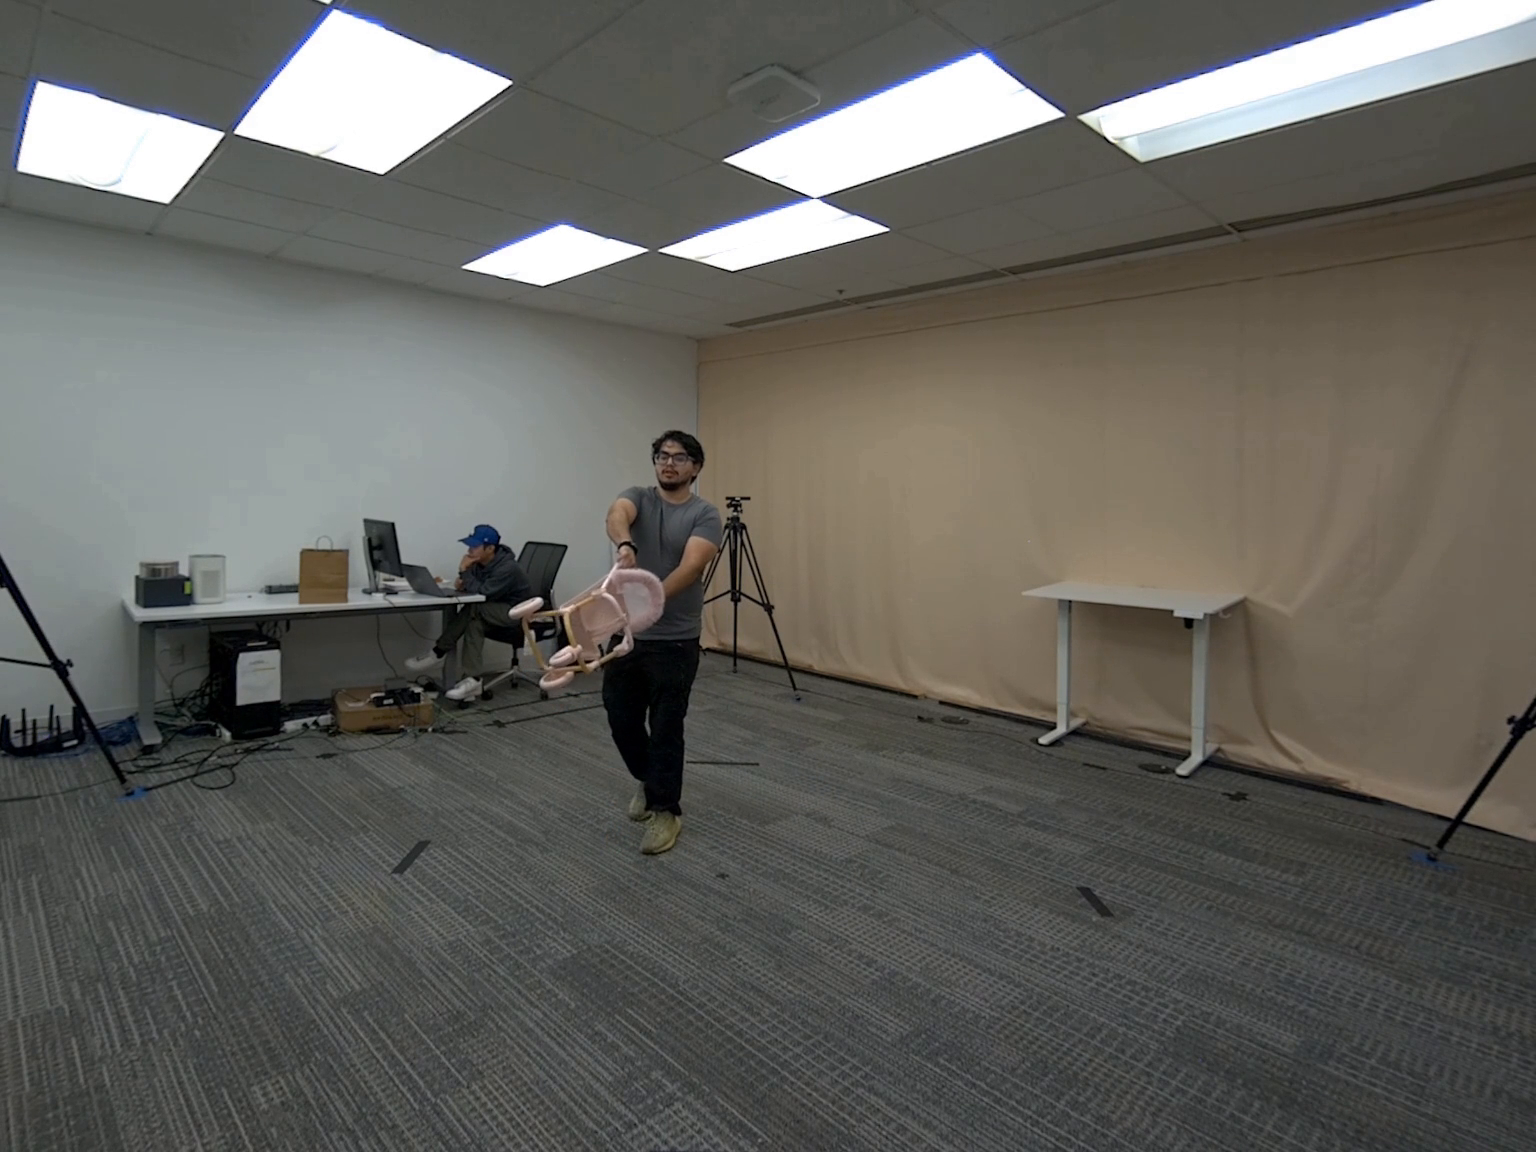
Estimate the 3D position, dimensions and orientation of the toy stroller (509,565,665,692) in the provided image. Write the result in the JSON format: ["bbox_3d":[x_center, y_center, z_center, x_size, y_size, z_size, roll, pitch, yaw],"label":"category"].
[{"bbox_3d":[-0.531,0.140,2.618,0.530,0.278,0.348,-33,15,-39],"label":"toy stroller"}]
